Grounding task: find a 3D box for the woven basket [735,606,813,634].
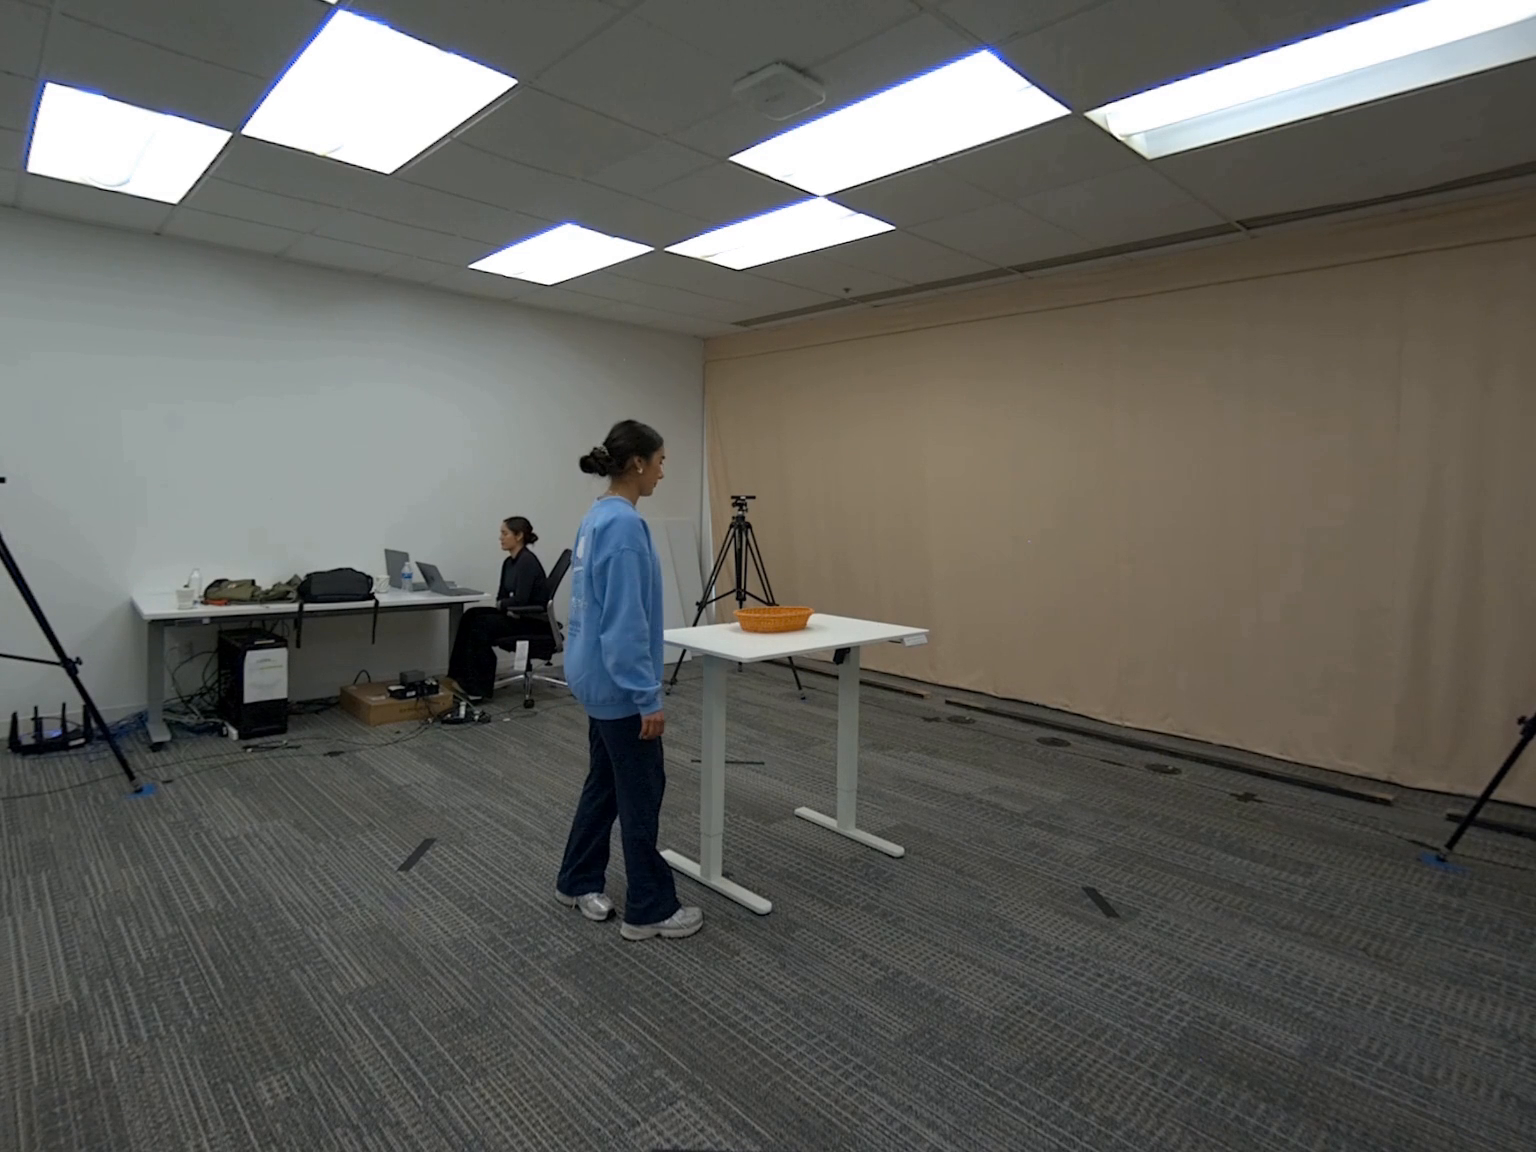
[{"bbox_3d":[0.013,0.177,3.312,0.342,0.073,0.259,-3,6,-40],"label":"woven basket"}]
